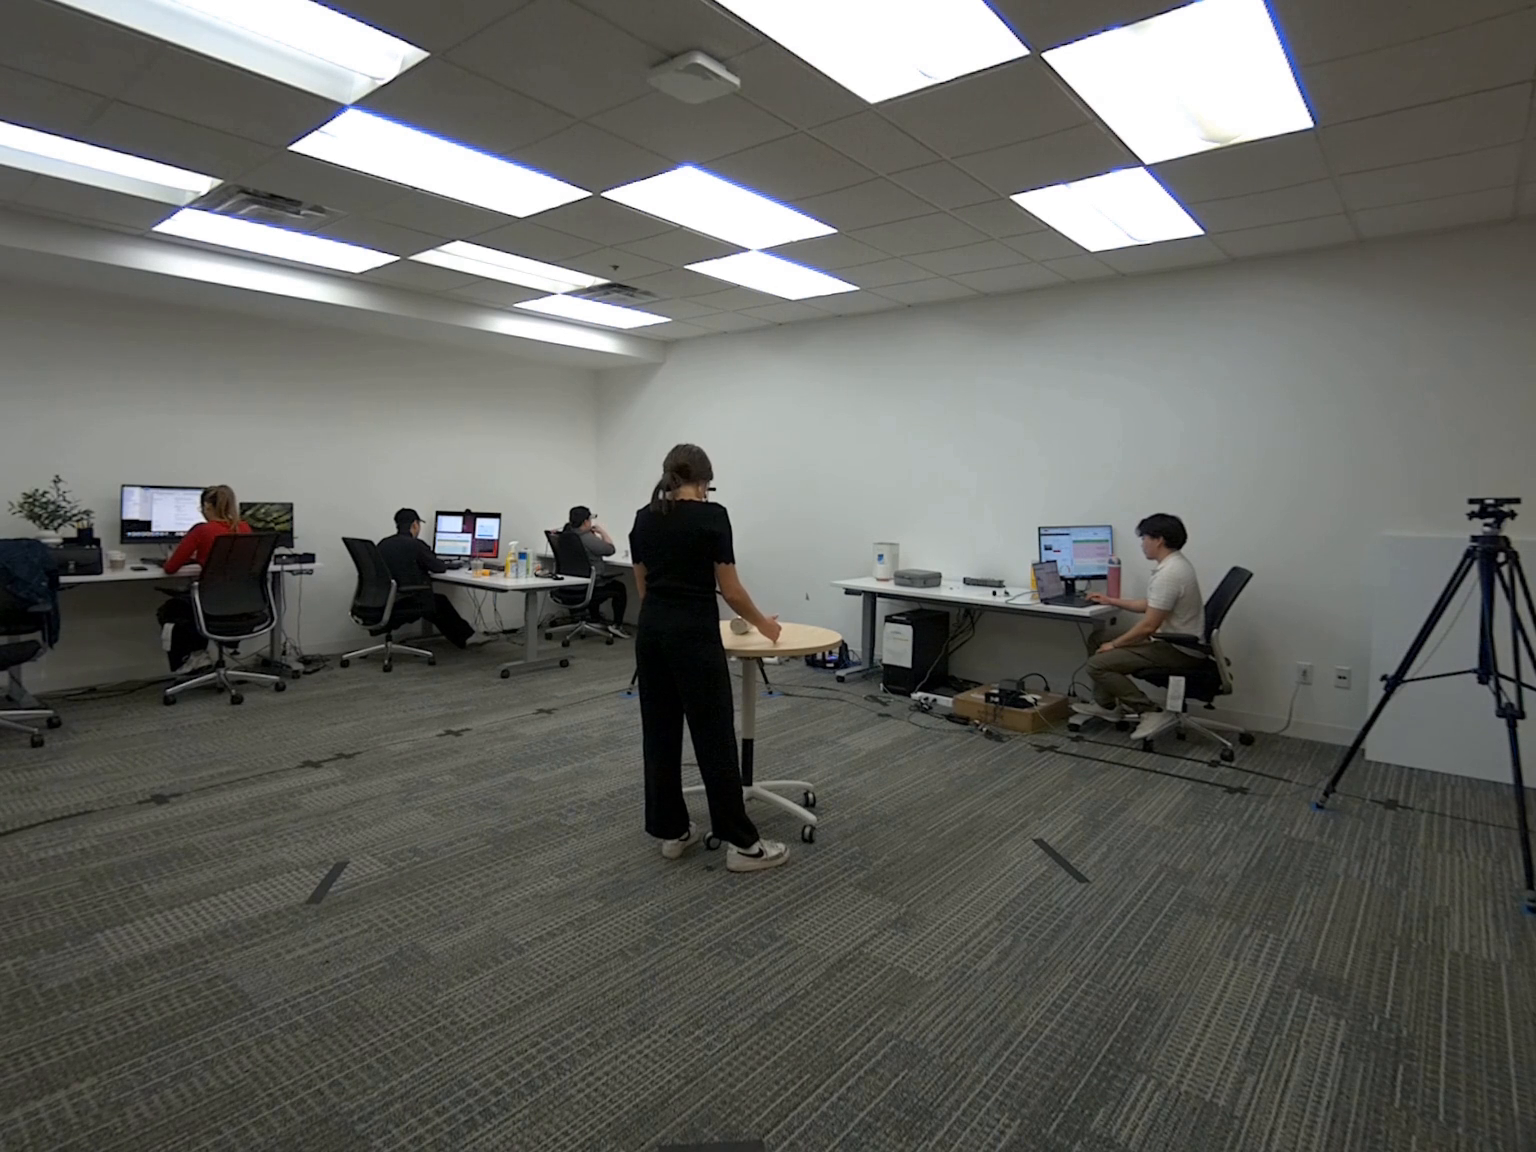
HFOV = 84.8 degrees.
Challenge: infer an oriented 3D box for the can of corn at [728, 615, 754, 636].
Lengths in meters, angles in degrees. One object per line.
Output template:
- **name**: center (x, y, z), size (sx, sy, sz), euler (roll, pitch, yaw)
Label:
- **can of corn**: center (-0.119, 0.201, 3.593), size (0.075, 0.074, 0.109), euler (2, 3, 14)
